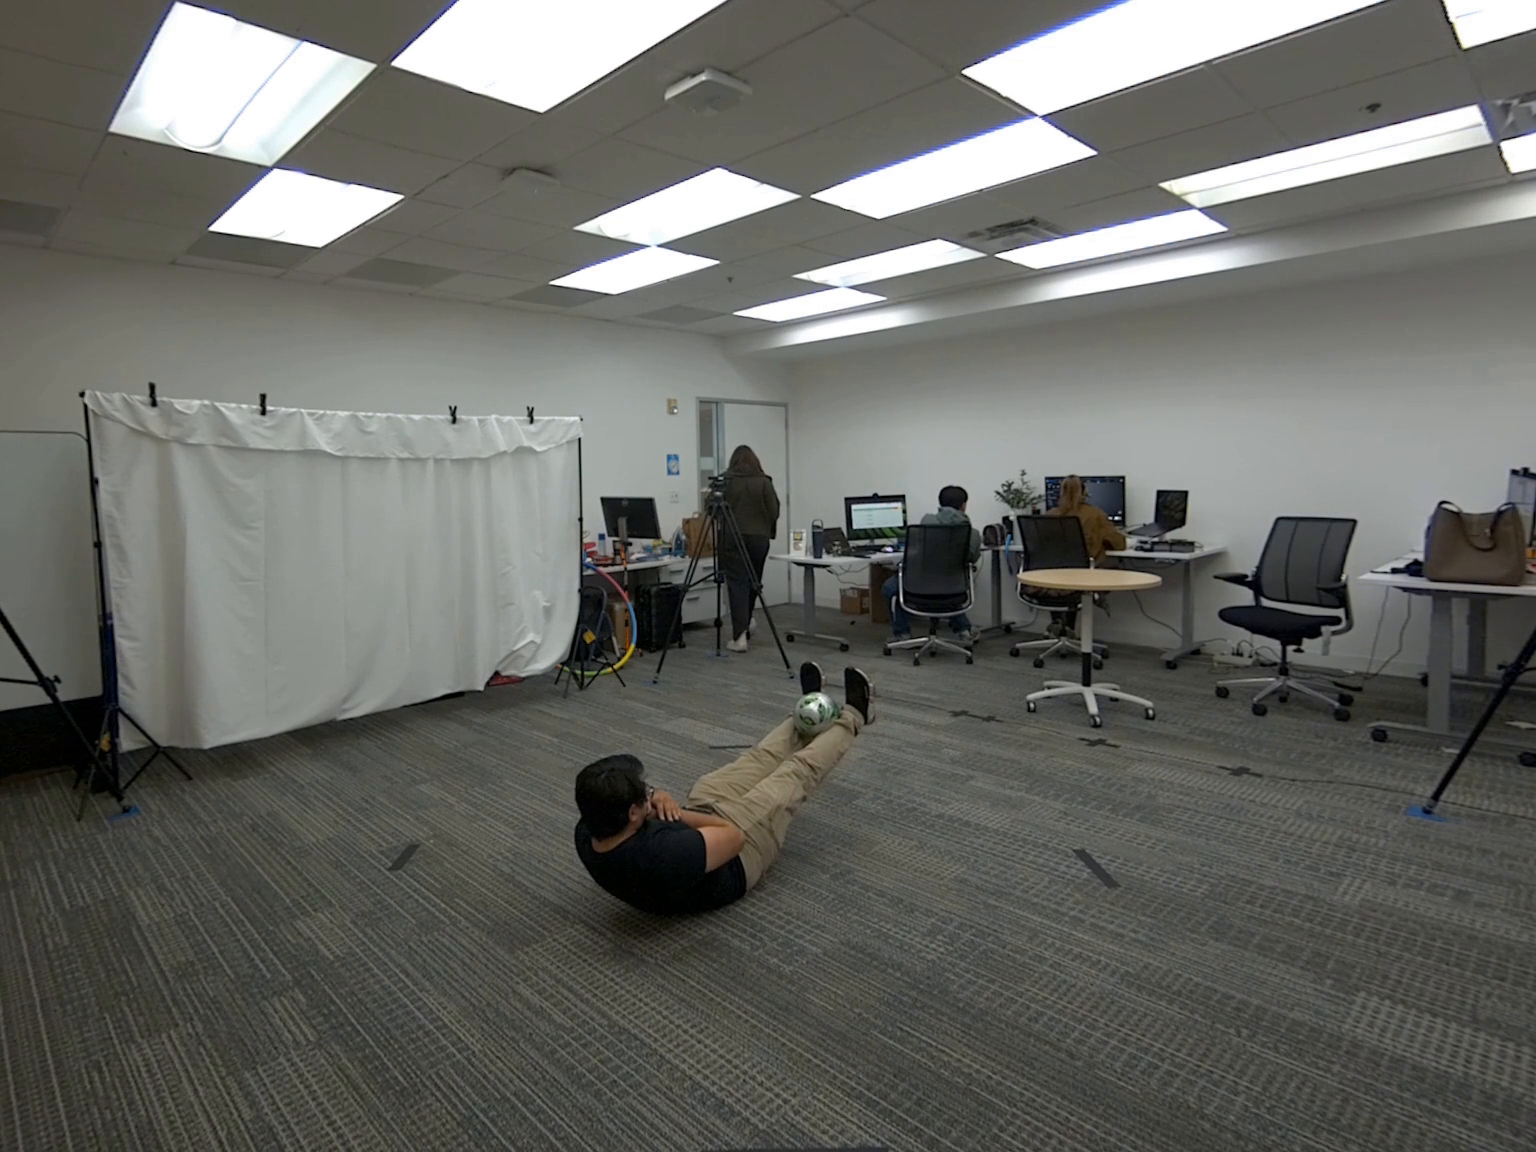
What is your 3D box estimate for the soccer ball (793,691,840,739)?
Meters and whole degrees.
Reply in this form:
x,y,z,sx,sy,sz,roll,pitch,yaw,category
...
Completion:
x,y,z,sx,sy,sz,roll,pitch,yaw,category
0.199,0.564,3.404,0.187,0.187,0.188,-1,4,-2,soccer ball
